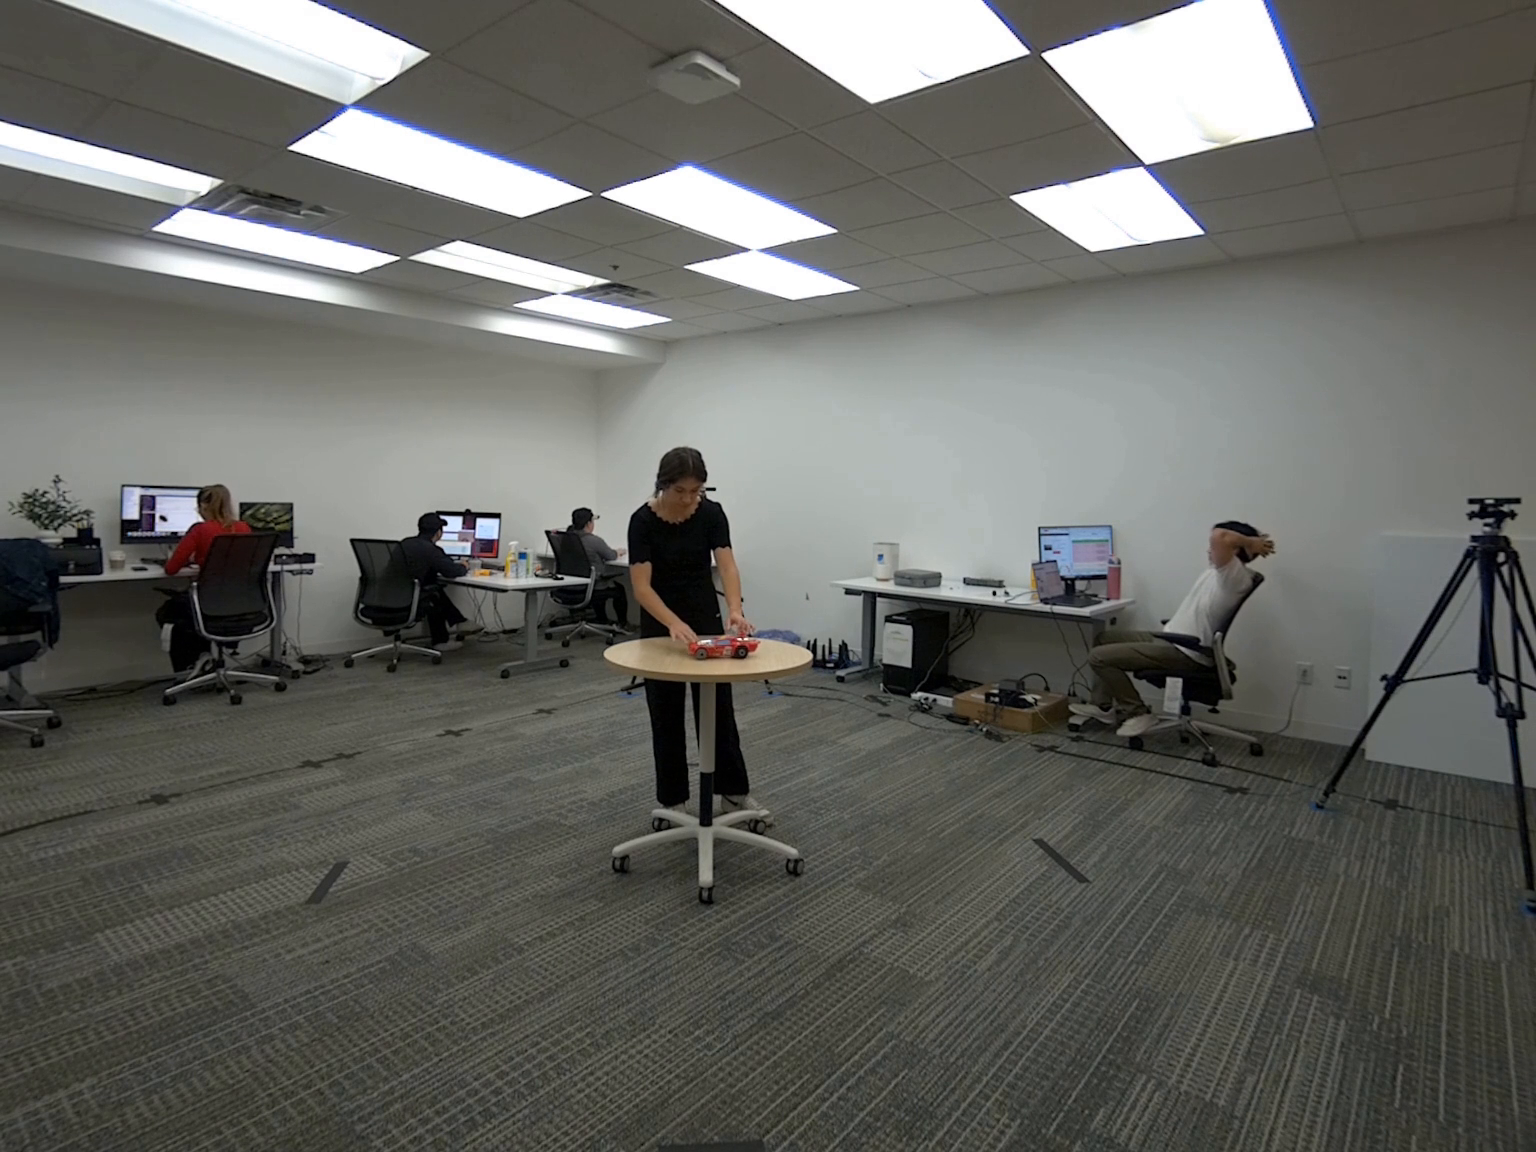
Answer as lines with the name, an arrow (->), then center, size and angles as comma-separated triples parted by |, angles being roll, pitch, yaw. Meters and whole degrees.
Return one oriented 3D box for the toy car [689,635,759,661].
toy car -> -0.166, 0.255, 3.055 | 0.253, 0.082, 0.132 | -13, 8, -8
